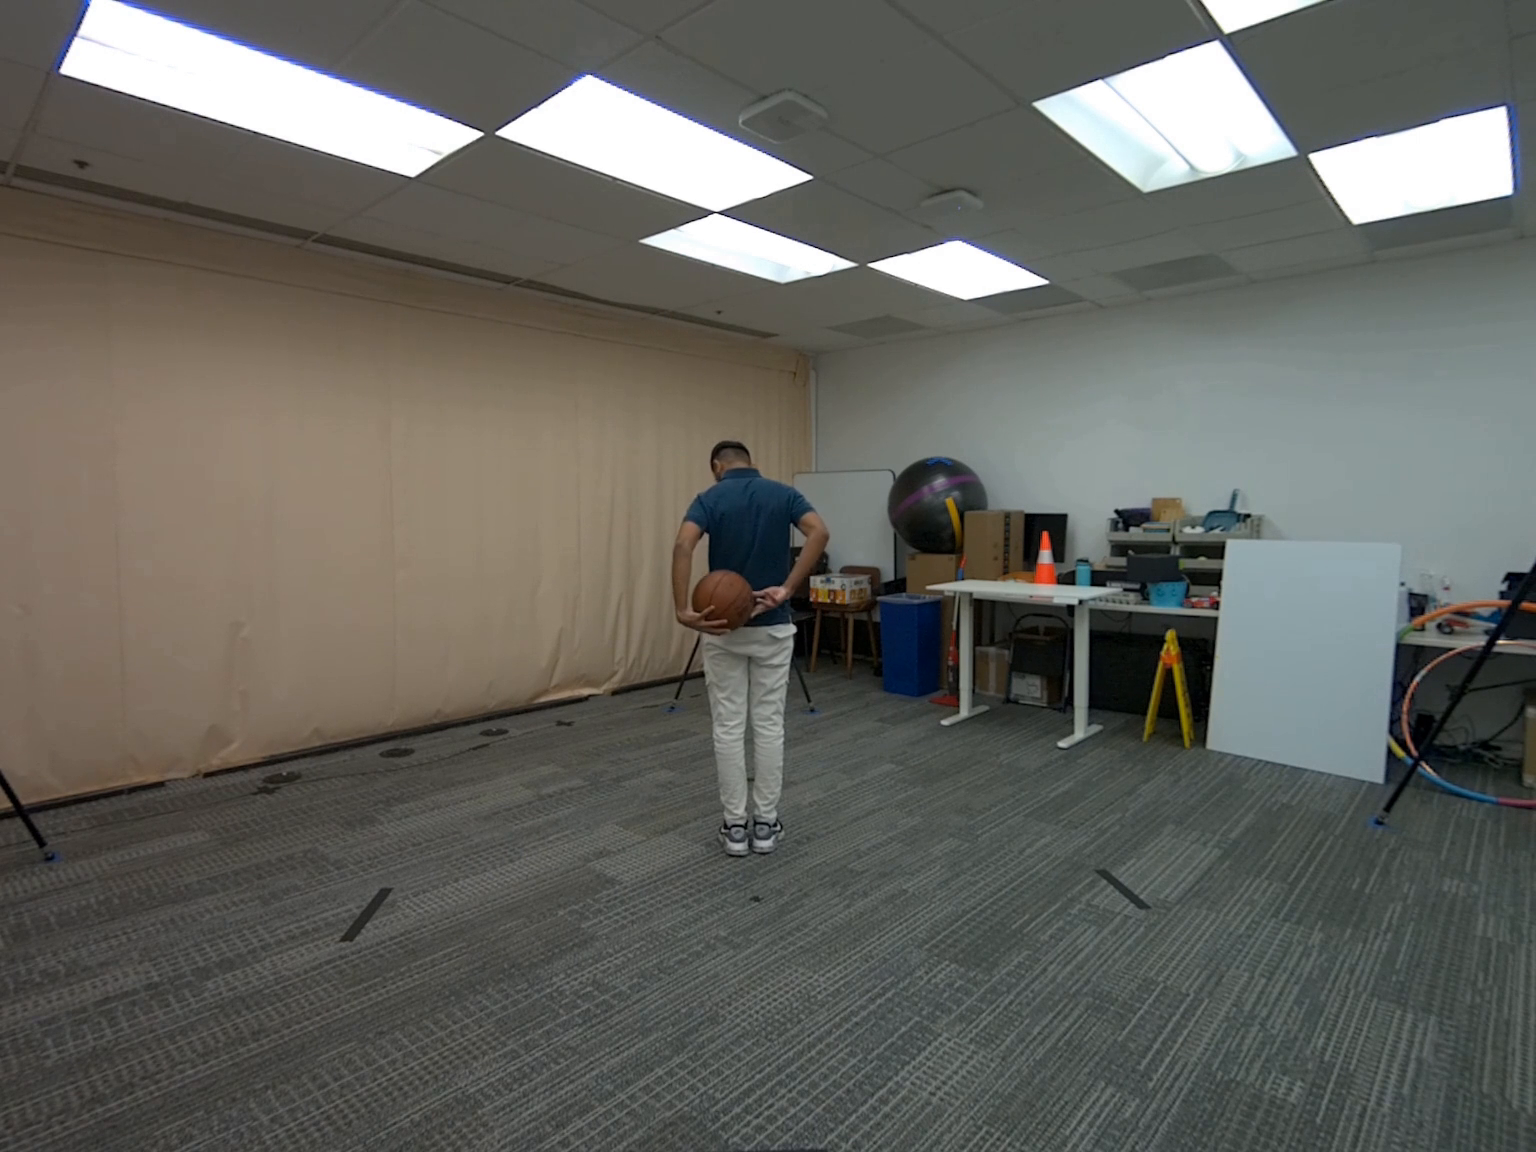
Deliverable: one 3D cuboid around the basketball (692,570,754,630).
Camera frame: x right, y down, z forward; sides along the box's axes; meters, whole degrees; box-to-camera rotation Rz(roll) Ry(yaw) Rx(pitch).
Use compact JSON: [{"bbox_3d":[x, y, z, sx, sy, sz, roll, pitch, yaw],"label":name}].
[{"bbox_3d":[-0.169,0.091,3.232,0.236,0.235,0.237,0,4,-2],"label":"basketball"}]
